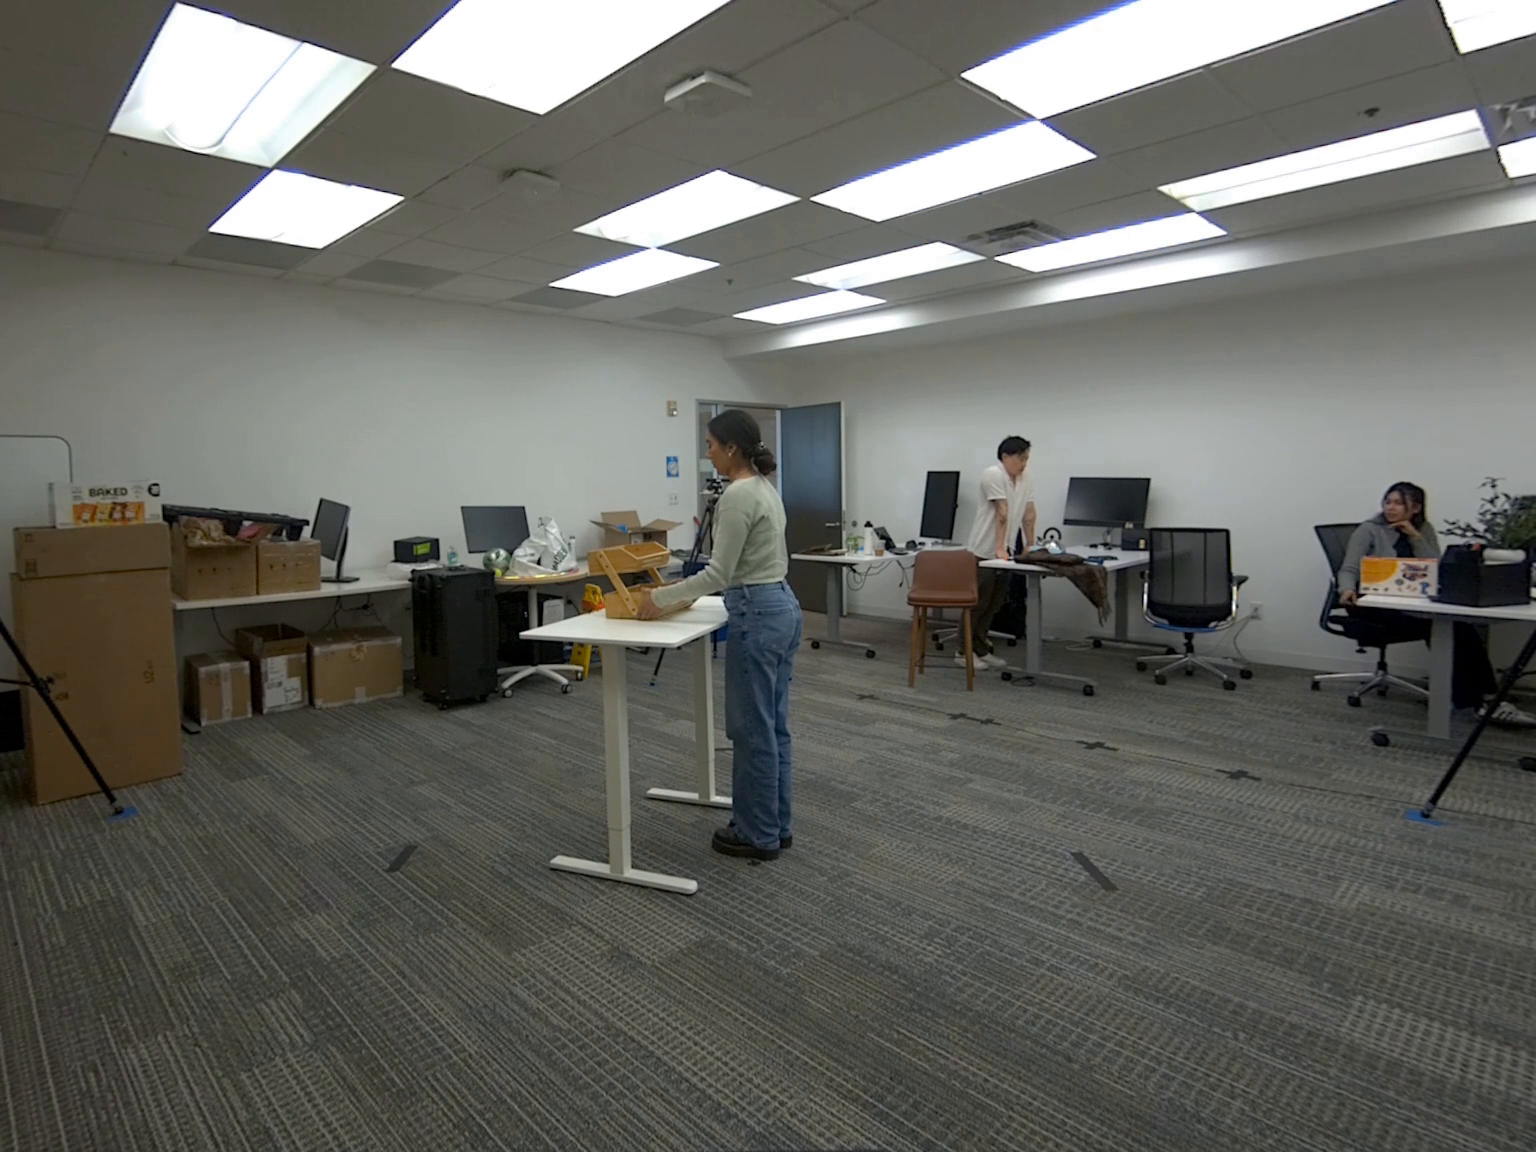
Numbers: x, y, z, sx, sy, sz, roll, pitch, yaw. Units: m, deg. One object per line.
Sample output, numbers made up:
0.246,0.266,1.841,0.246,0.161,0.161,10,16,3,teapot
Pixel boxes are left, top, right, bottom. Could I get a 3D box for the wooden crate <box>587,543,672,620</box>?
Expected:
-0.479,0.003,3.327,0.307,0.273,0.320,-5,4,20,wooden crate
